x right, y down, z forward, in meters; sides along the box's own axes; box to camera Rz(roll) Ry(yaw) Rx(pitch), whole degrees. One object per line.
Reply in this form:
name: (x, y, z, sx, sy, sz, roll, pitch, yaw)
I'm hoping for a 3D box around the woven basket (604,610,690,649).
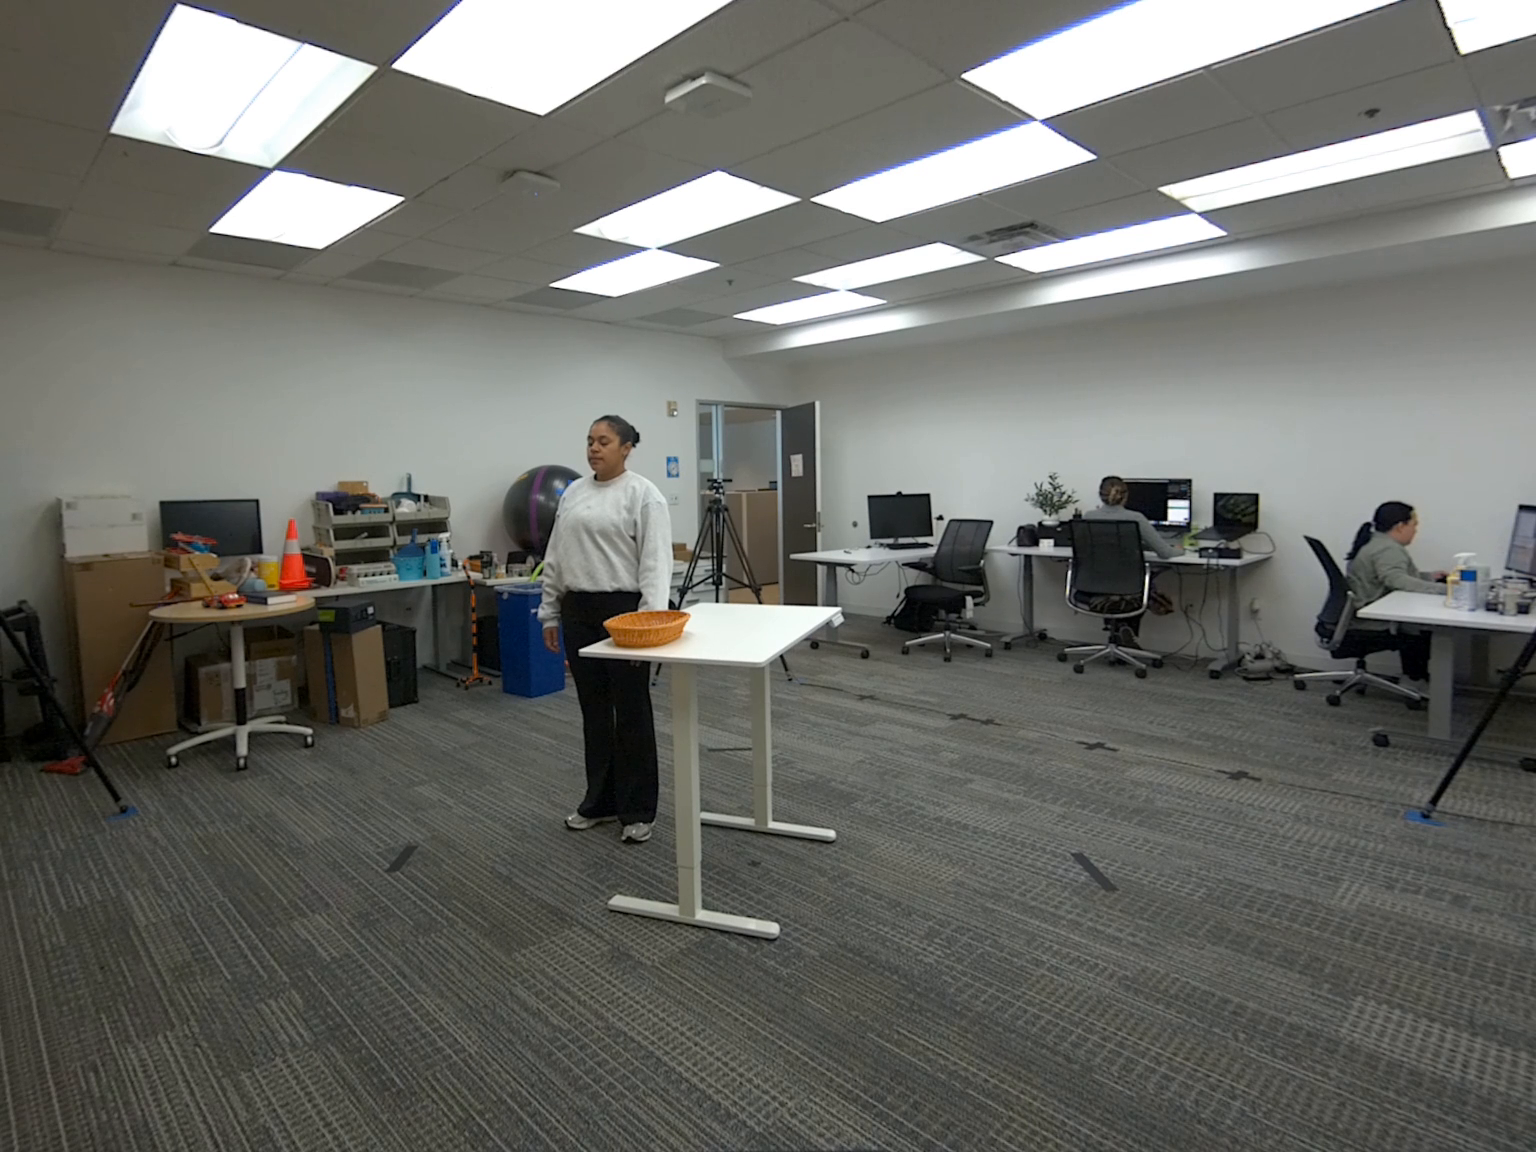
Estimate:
woven basket: (-0.388, 0.178, 2.782, 0.256, 0.073, 0.346, 2, 7, 16)
